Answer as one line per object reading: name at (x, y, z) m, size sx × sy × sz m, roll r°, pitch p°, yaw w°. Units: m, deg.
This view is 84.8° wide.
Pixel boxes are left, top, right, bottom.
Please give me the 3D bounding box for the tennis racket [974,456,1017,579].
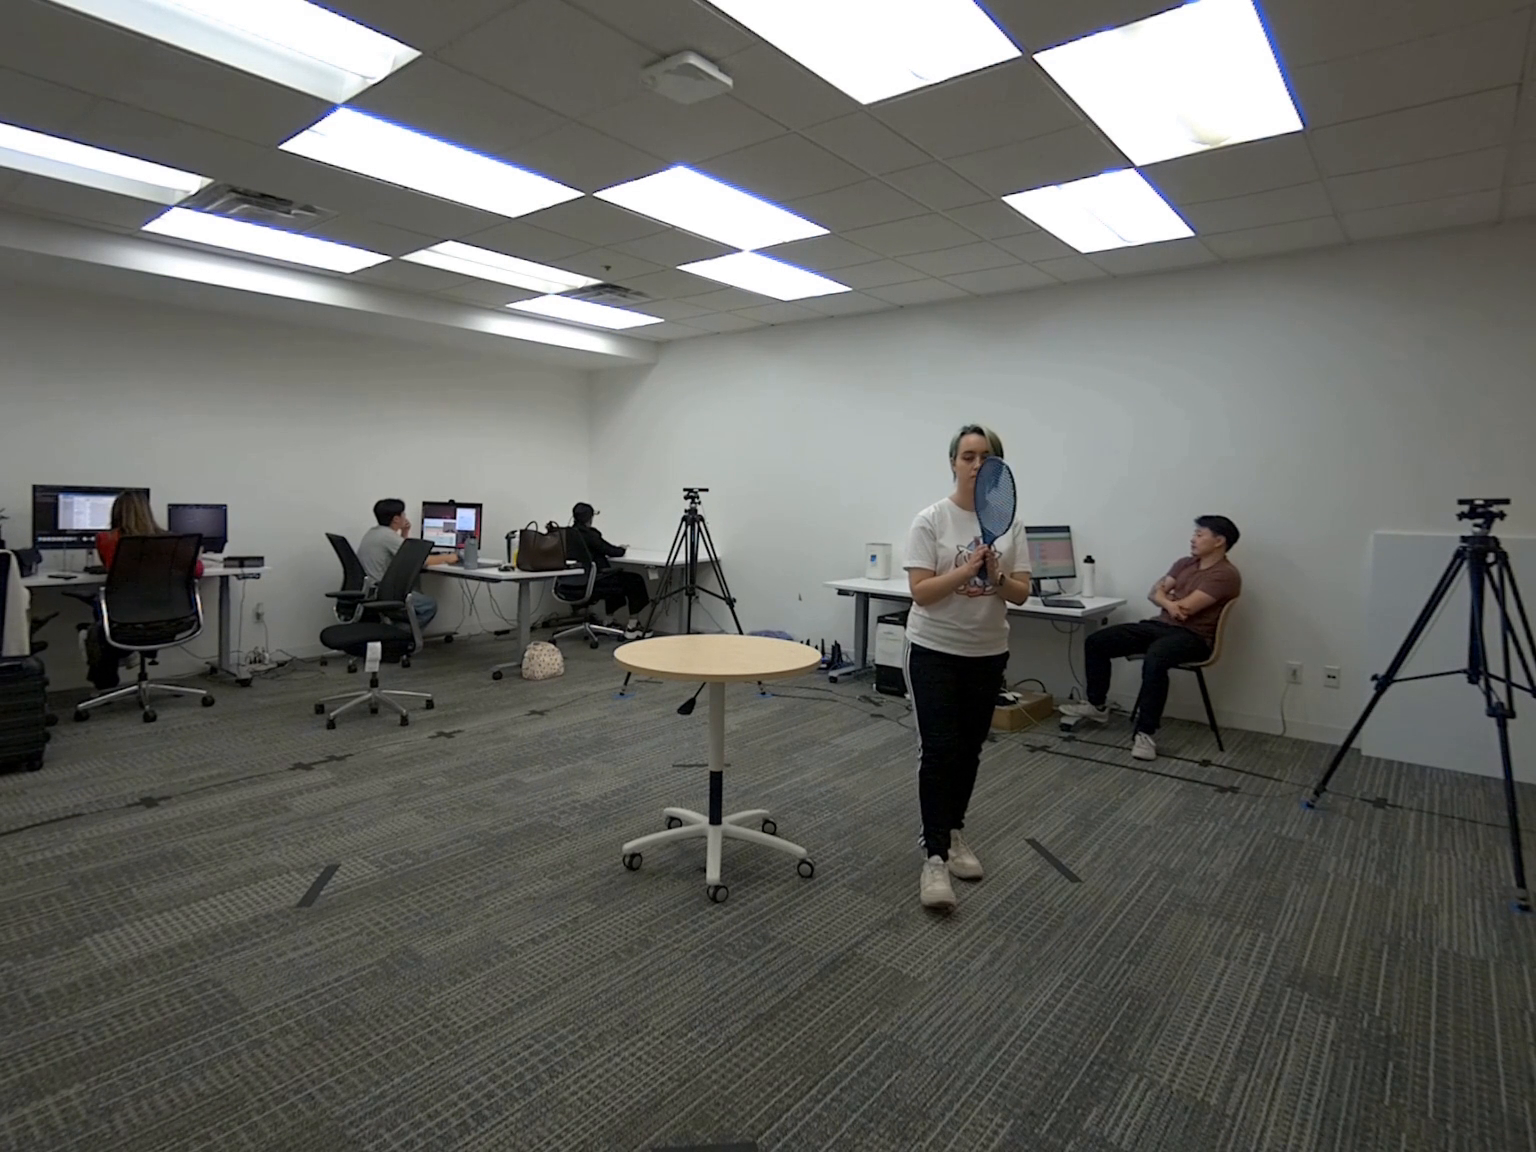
tennis racket at (0.705, -0.185, 2.748) m, size 0.031 × 0.422 × 0.221 m, roll -5°, pitch 31°, yaw -13°
